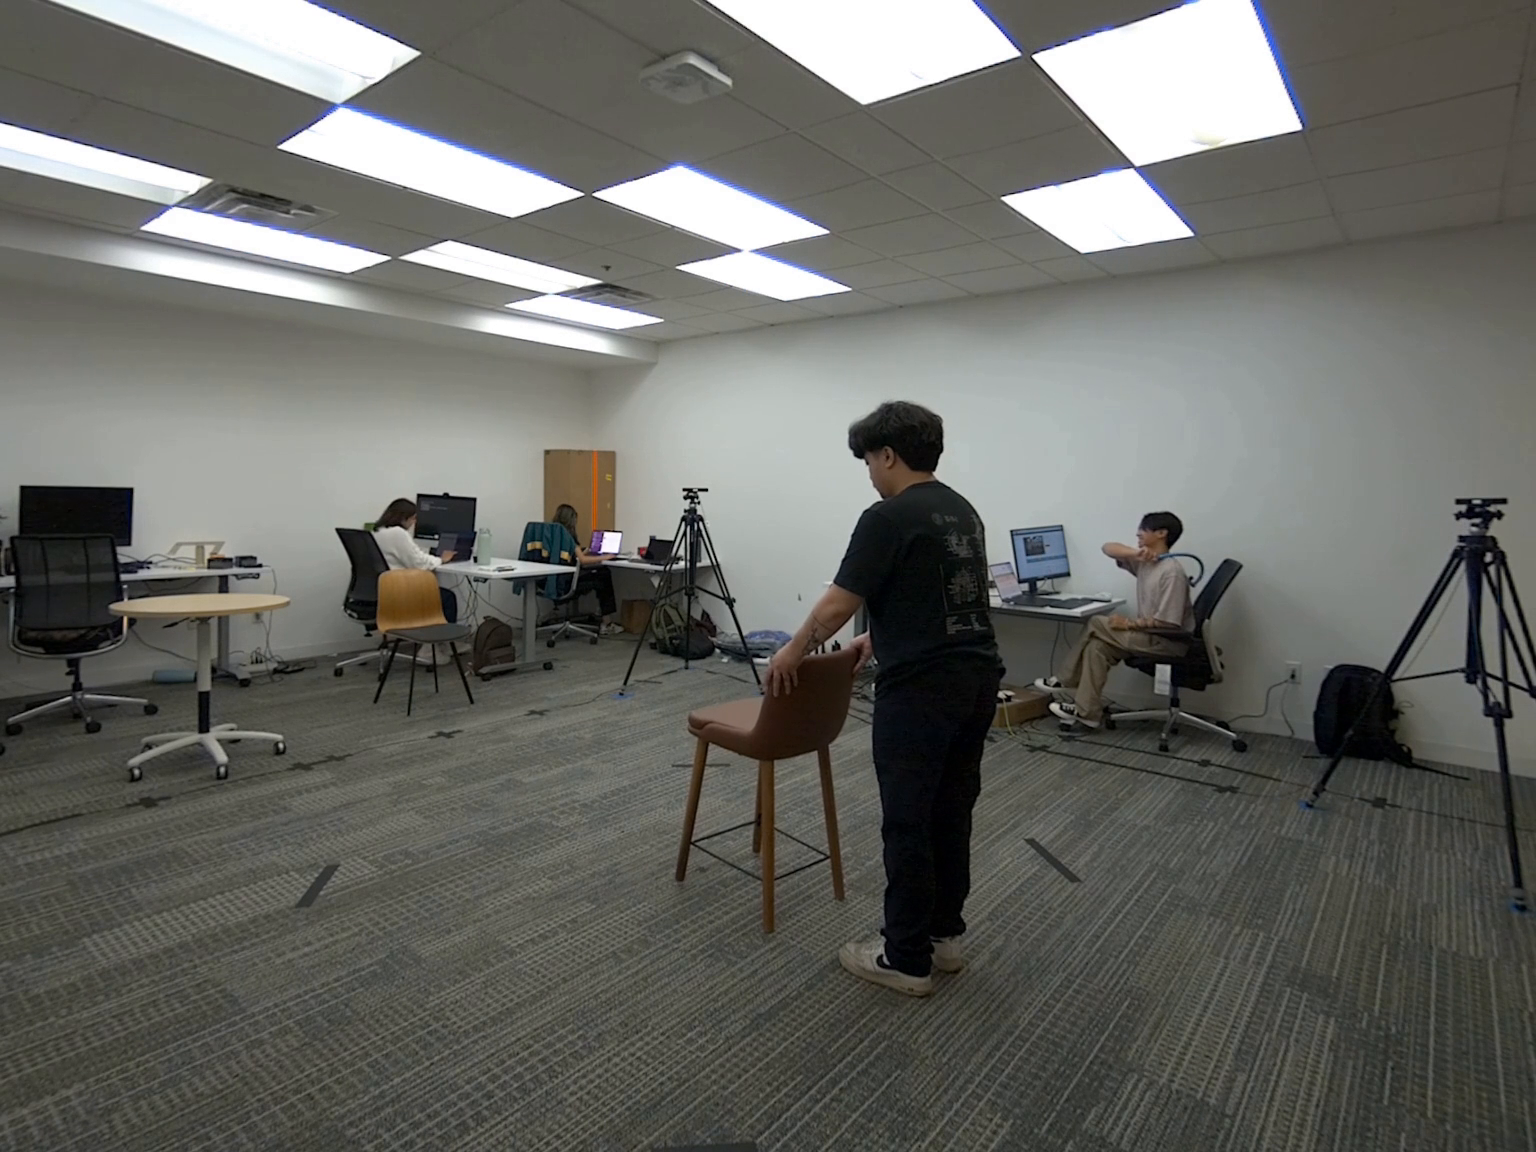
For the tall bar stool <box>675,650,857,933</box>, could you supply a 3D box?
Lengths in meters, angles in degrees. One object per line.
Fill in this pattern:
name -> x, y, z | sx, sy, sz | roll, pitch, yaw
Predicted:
tall bar stool -> -0.003, 0.649, 2.914 | 0.442, 0.886, 0.485 | -1, 7, -44
